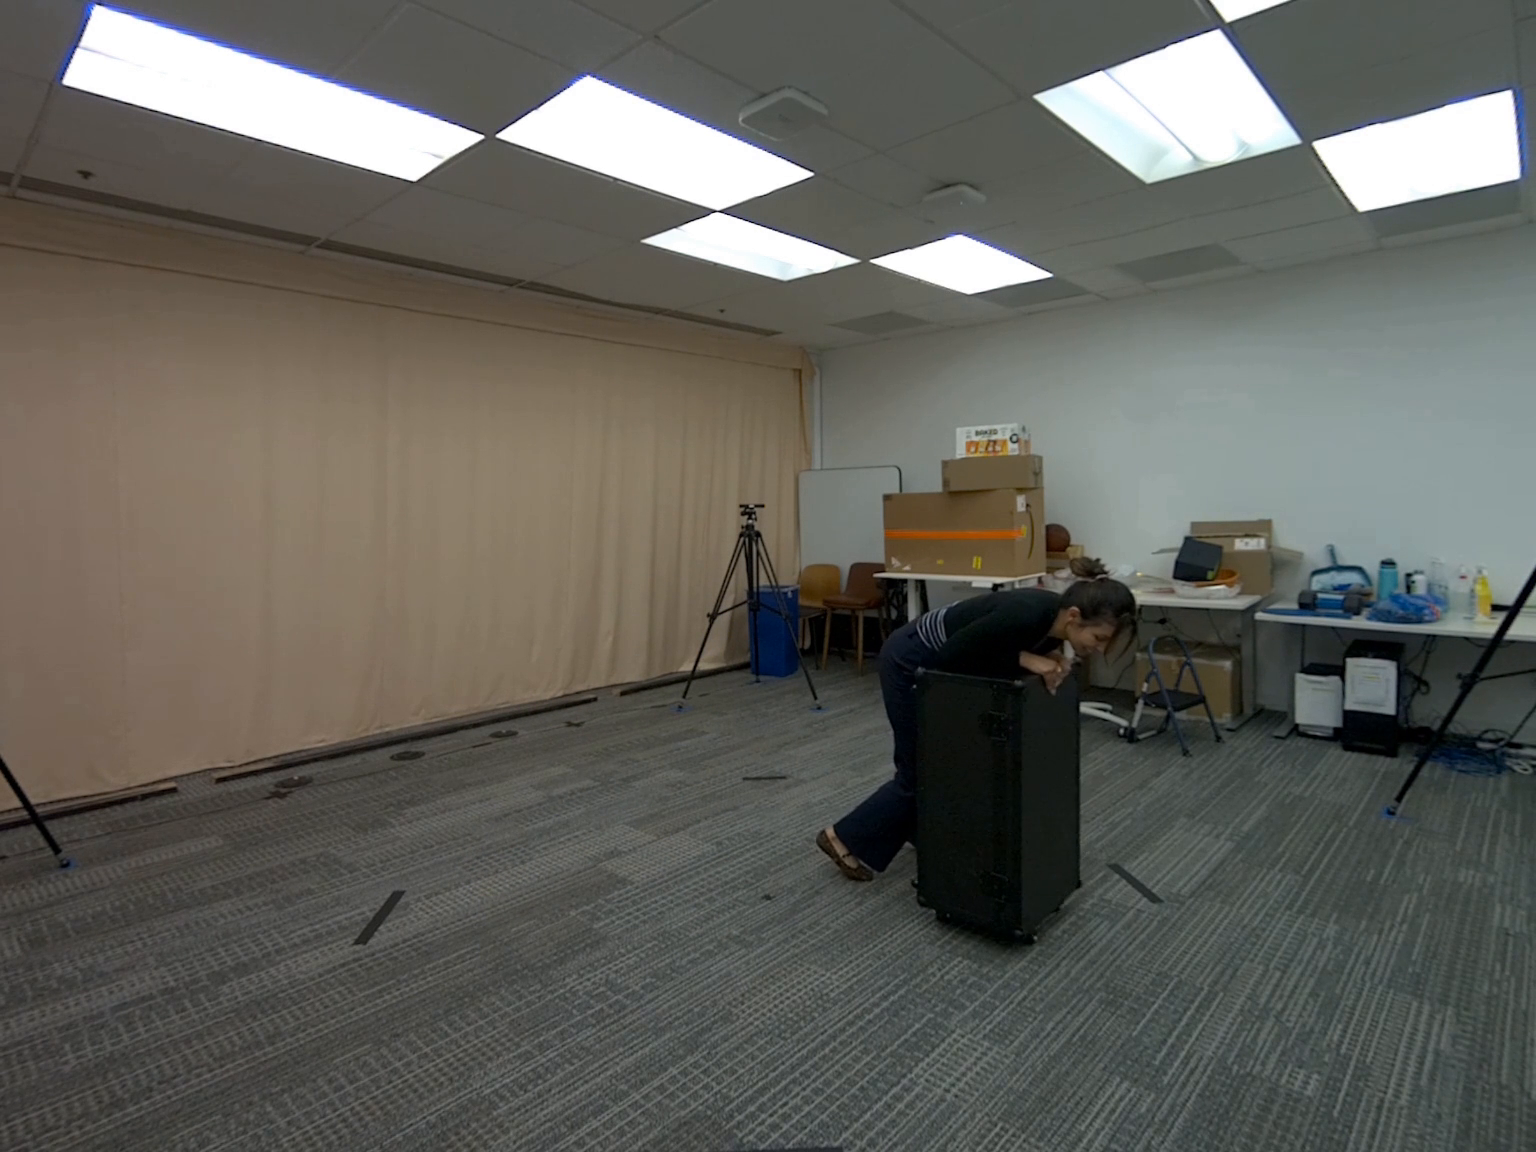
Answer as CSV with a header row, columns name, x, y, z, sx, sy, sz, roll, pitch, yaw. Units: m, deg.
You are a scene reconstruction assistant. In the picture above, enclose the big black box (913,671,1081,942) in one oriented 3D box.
name,x,y,z,sx,sy,sz,roll,pitch,yaw
big black box,0.768,0.719,2.798,0.409,0.859,0.506,1,5,41
